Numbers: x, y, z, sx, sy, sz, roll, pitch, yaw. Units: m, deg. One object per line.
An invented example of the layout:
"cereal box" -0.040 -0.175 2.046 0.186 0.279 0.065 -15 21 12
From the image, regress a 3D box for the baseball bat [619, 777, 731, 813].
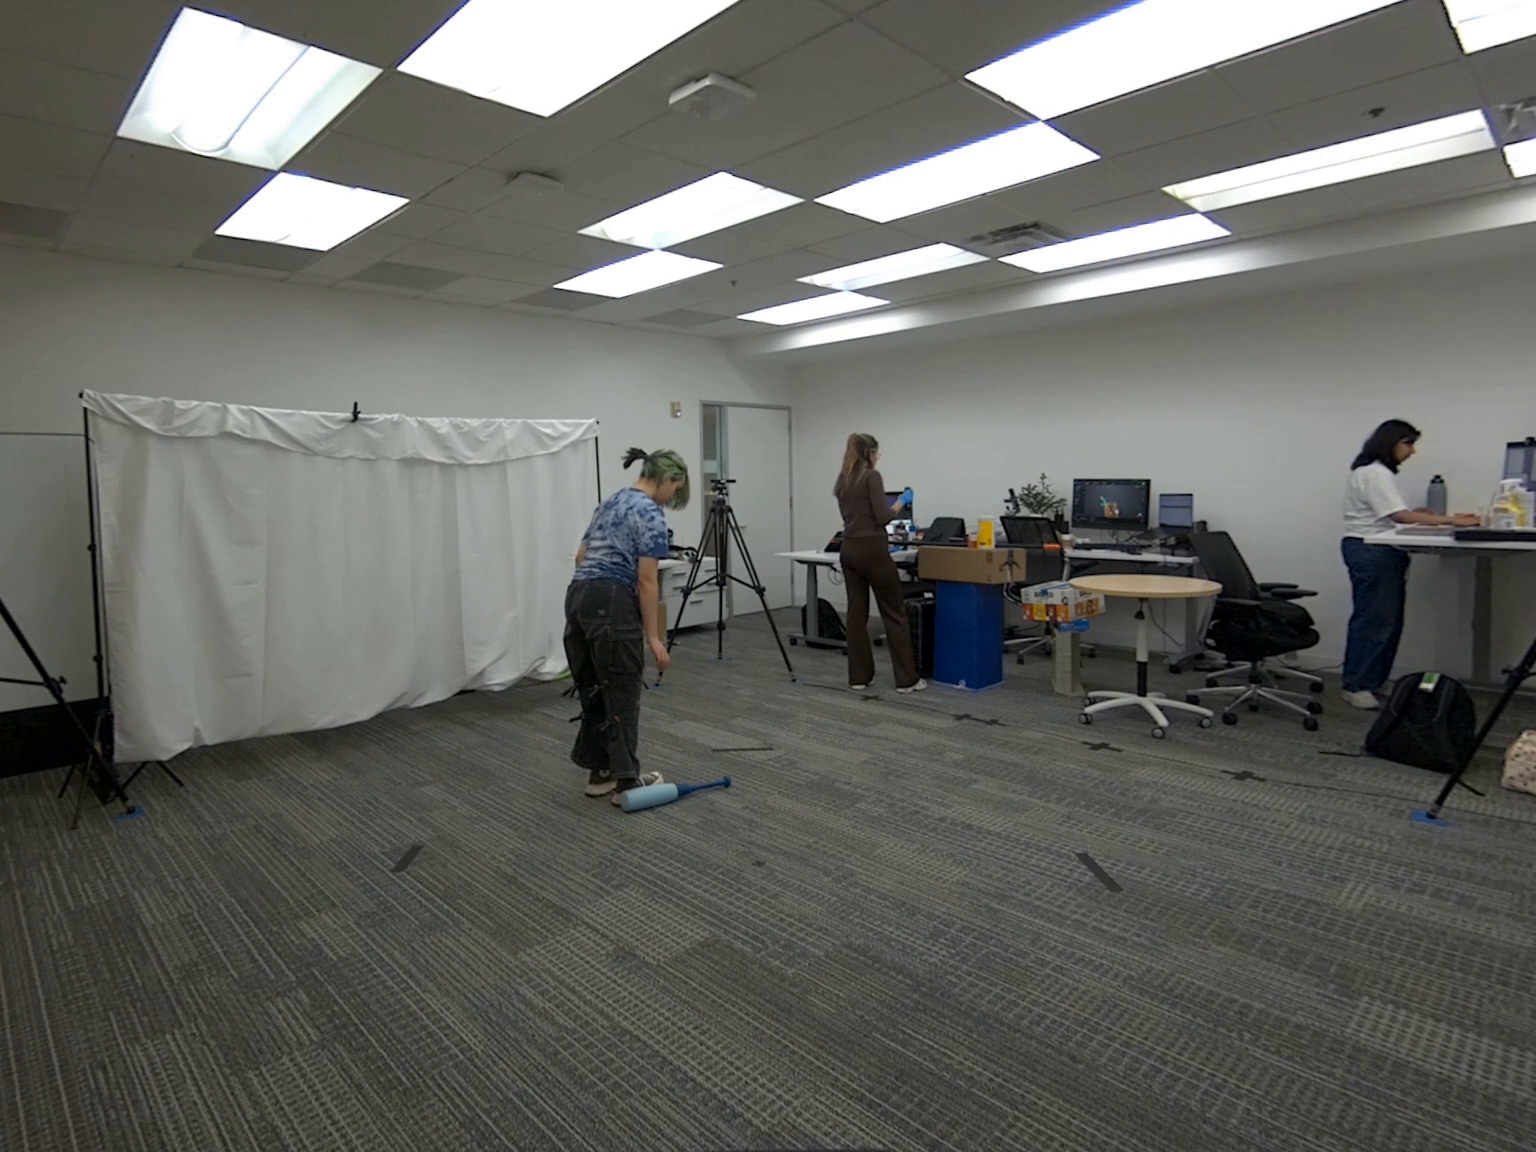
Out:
"baseball bat" -0.401 0.947 3.756 0.528 0.089 0.092 -2 4 -36
